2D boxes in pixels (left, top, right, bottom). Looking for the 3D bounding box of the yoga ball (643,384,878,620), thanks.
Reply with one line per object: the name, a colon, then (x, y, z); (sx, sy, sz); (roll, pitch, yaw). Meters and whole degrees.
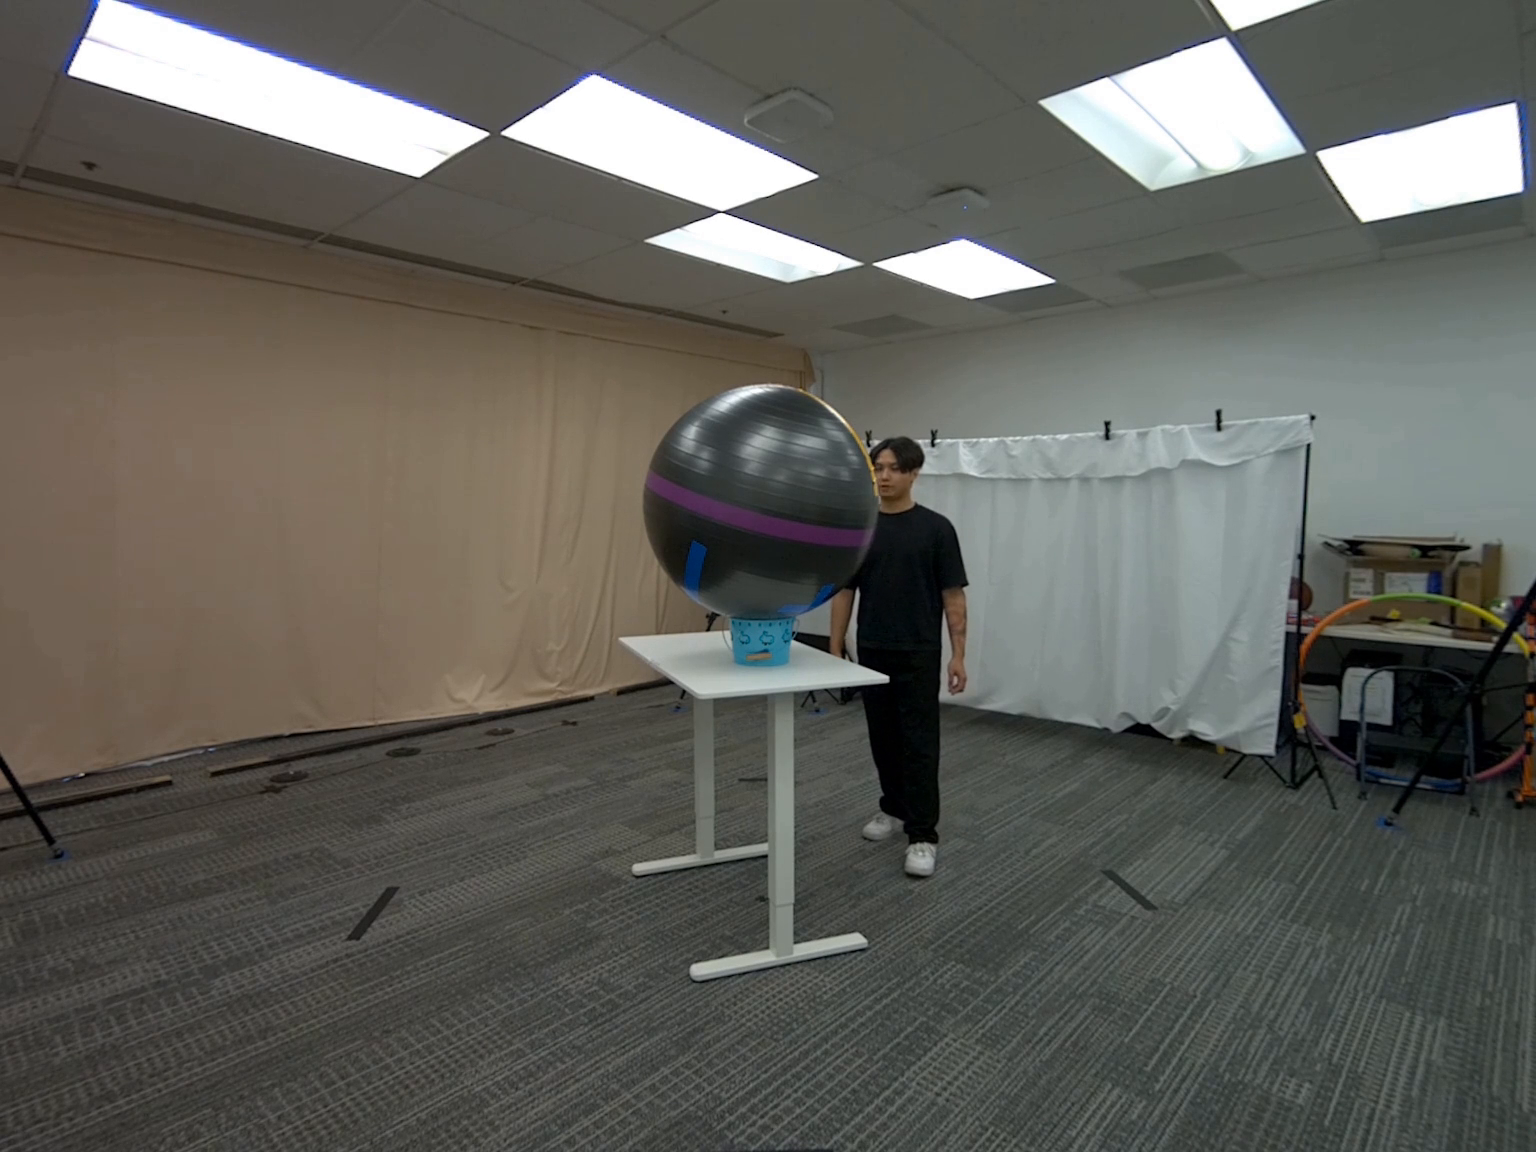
yoga ball: (-0.020, -0.233, 2.742); (0.757, 0.756, 0.760); (0, 4, -2)
